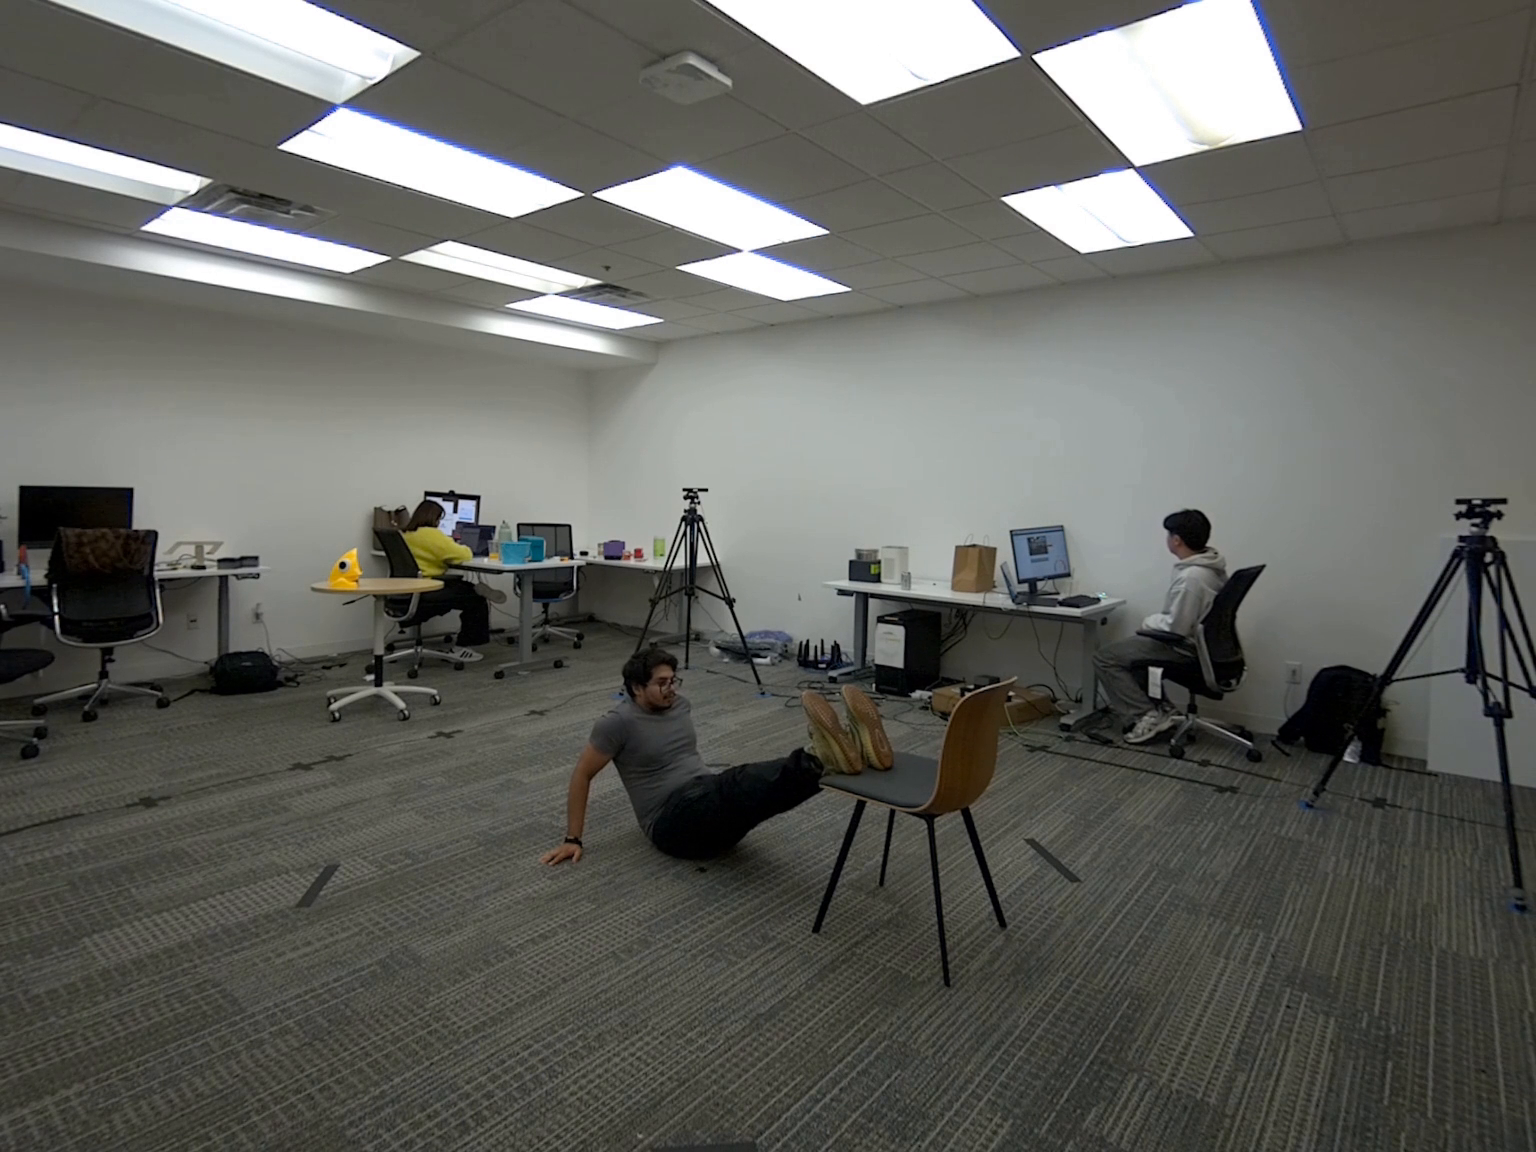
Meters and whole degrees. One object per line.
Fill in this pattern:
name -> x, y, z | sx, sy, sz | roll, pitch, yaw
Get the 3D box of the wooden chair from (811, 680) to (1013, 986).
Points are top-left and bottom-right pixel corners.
wooden chair -> 0.453, 0.701, 2.689 | 0.541, 0.873, 0.464 | 9, 7, 37
